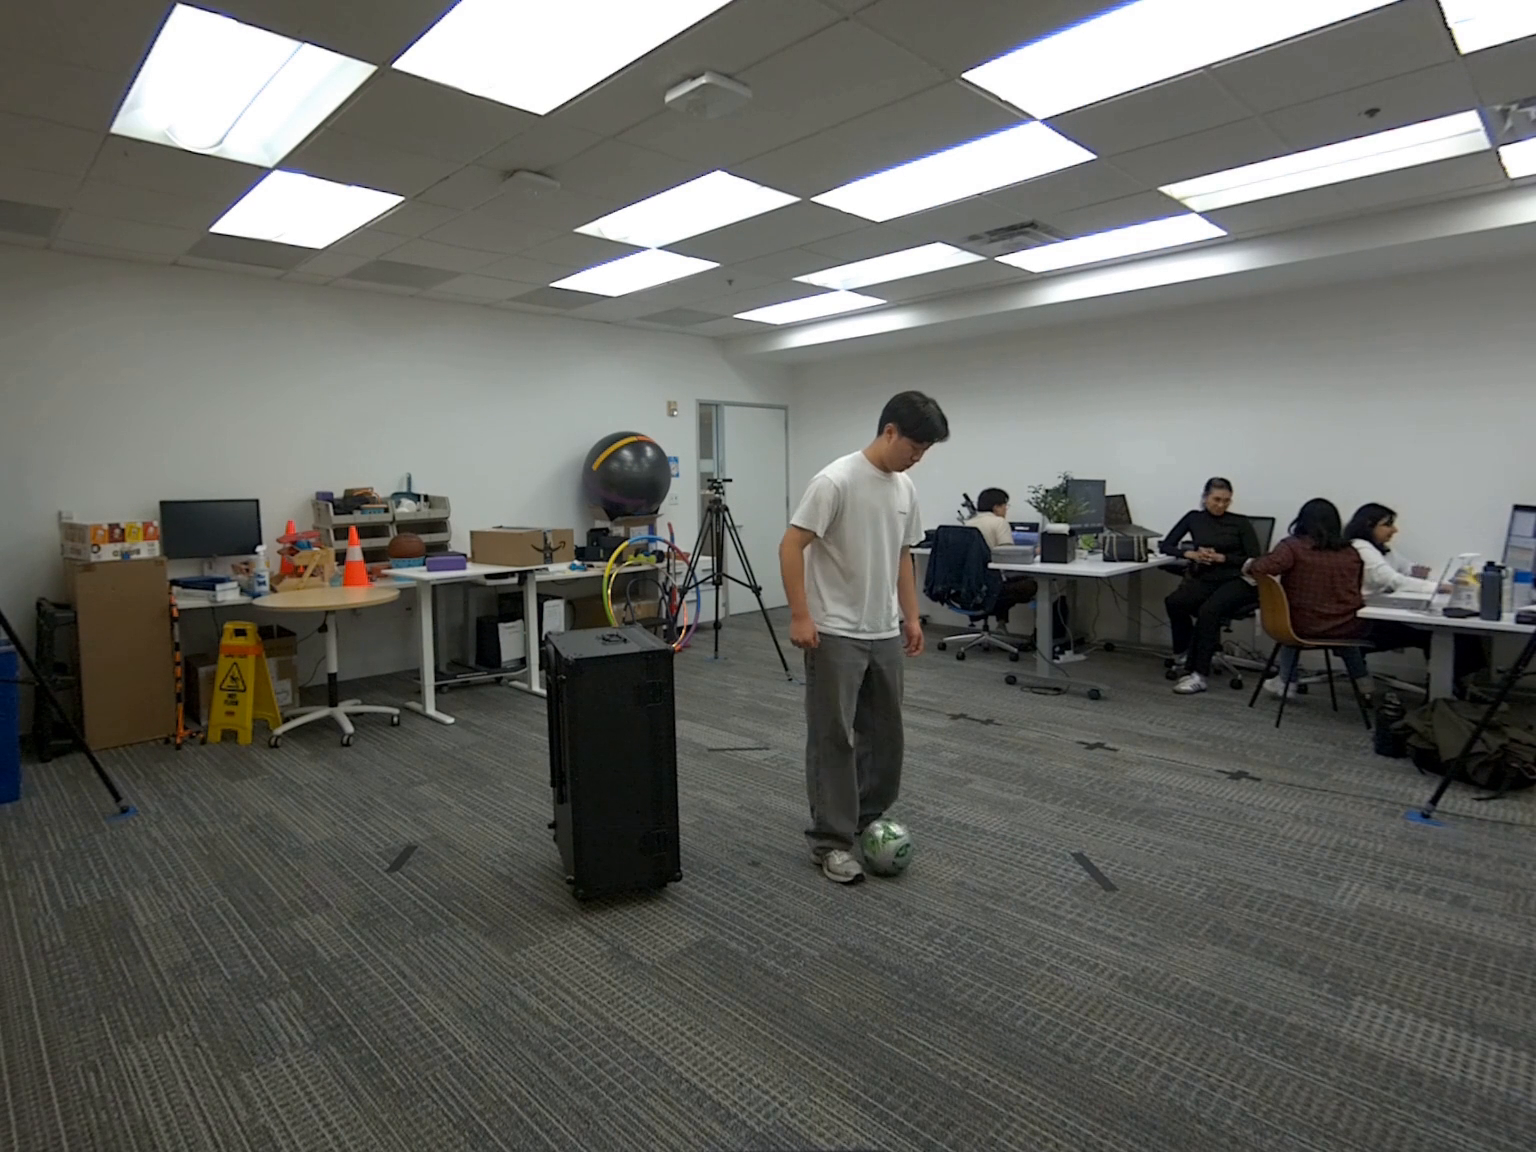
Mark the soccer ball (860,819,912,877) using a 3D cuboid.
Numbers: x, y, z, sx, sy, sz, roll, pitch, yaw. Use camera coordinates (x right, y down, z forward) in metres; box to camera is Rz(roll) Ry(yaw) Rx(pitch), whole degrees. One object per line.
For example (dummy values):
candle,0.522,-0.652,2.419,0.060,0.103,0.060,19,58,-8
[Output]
soccer ball,0.409,0.955,3.014,0.187,0.187,0.188,-1,5,-2
